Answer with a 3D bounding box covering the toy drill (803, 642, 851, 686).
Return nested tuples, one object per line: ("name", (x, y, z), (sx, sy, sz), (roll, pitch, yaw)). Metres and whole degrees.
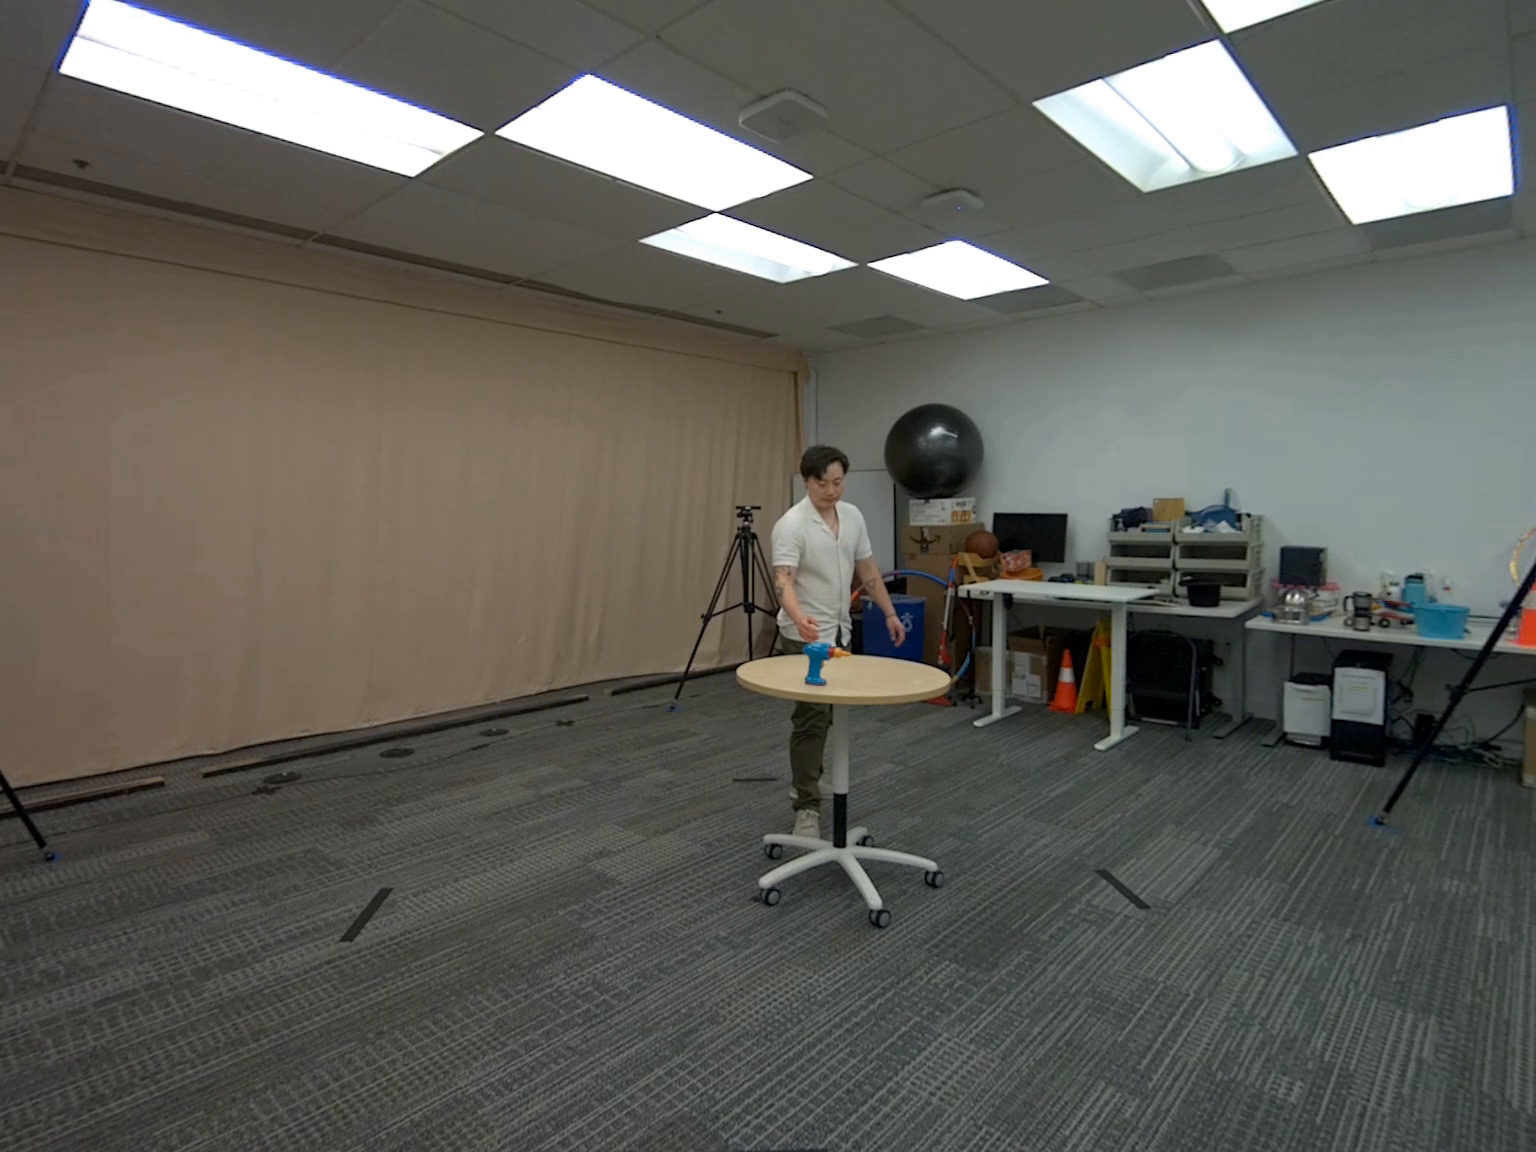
("toy drill", (0.206, 0.295, 2.852), (0.173, 0.145, 0.060), (4, 5, 20))
